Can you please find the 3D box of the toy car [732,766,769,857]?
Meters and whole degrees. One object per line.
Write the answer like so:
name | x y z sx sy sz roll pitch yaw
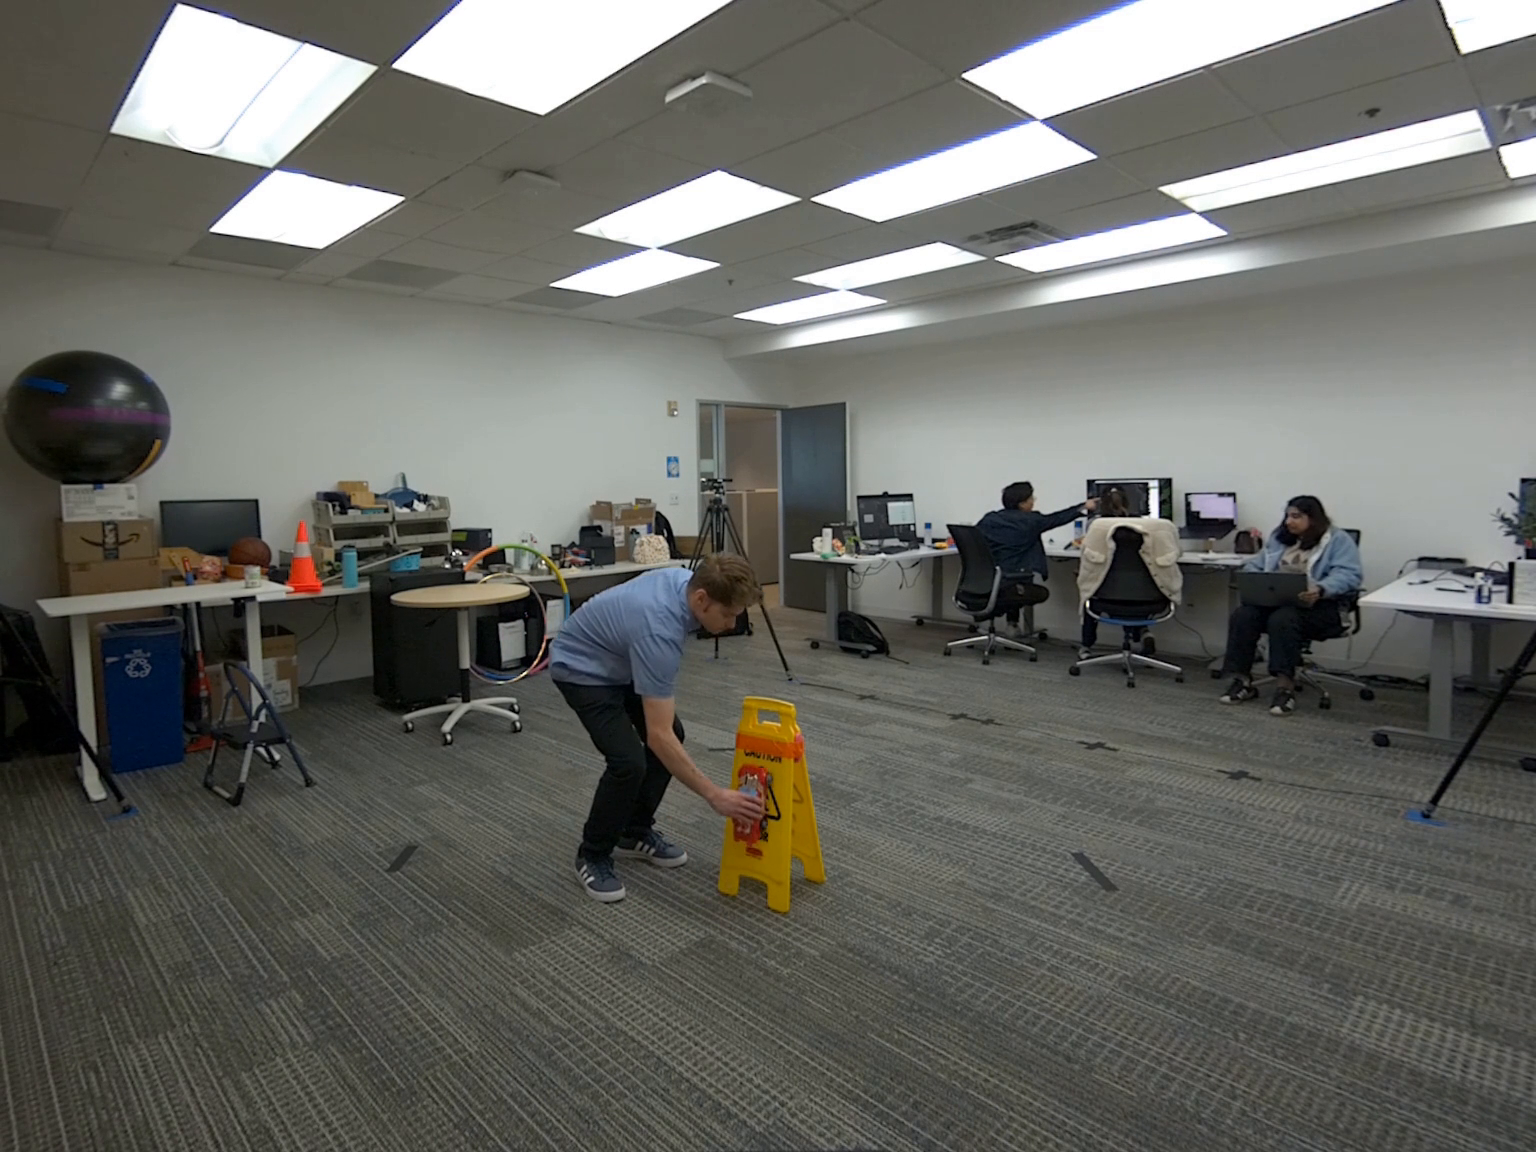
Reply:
toy car | -0.065 0.759 2.843 0.133 0.256 0.080 8 -12 23
